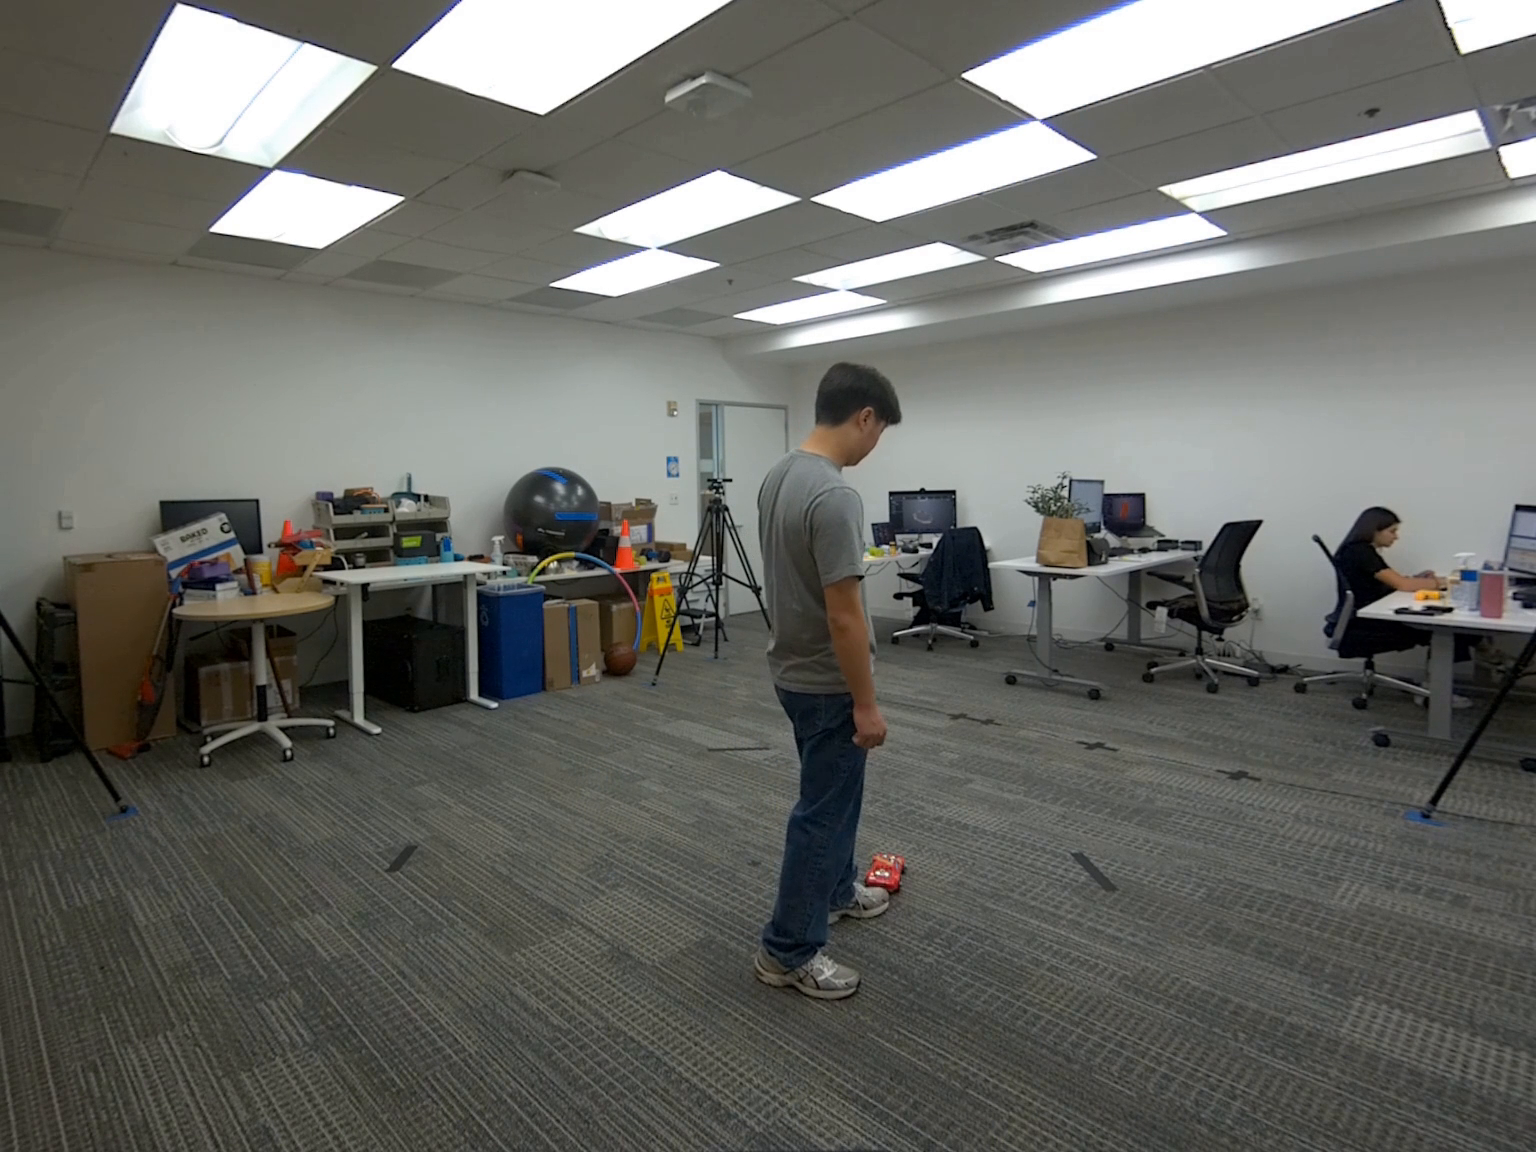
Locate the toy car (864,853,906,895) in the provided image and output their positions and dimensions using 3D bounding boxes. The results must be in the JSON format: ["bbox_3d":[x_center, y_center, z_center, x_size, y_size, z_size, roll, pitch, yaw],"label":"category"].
[{"bbox_3d":[0.412,1.026,2.936,0.132,0.083,0.249,2,-4,16],"label":"toy car"}]
